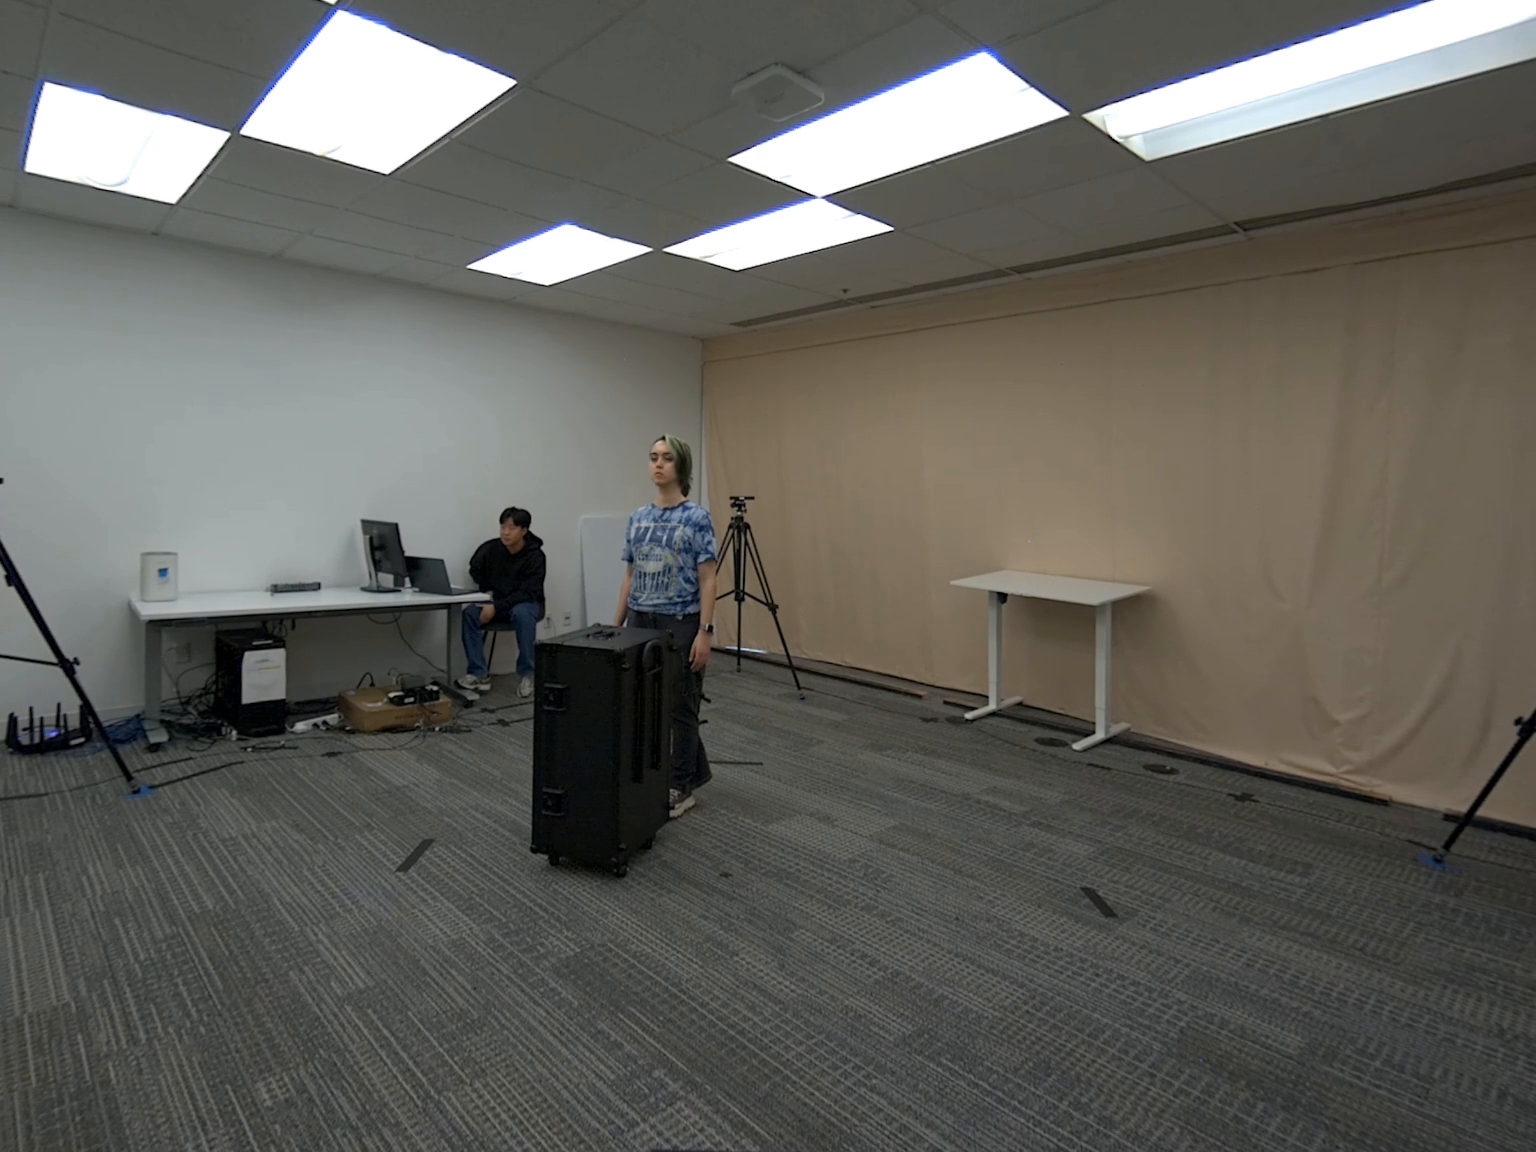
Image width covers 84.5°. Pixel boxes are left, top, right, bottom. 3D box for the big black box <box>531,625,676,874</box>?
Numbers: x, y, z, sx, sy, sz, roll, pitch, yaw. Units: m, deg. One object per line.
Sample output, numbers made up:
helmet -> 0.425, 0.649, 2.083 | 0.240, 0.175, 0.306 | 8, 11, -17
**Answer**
big black box -> -0.628, 0.660, 3.247 | 0.402, 0.859, 0.515 | 4, 4, 18
